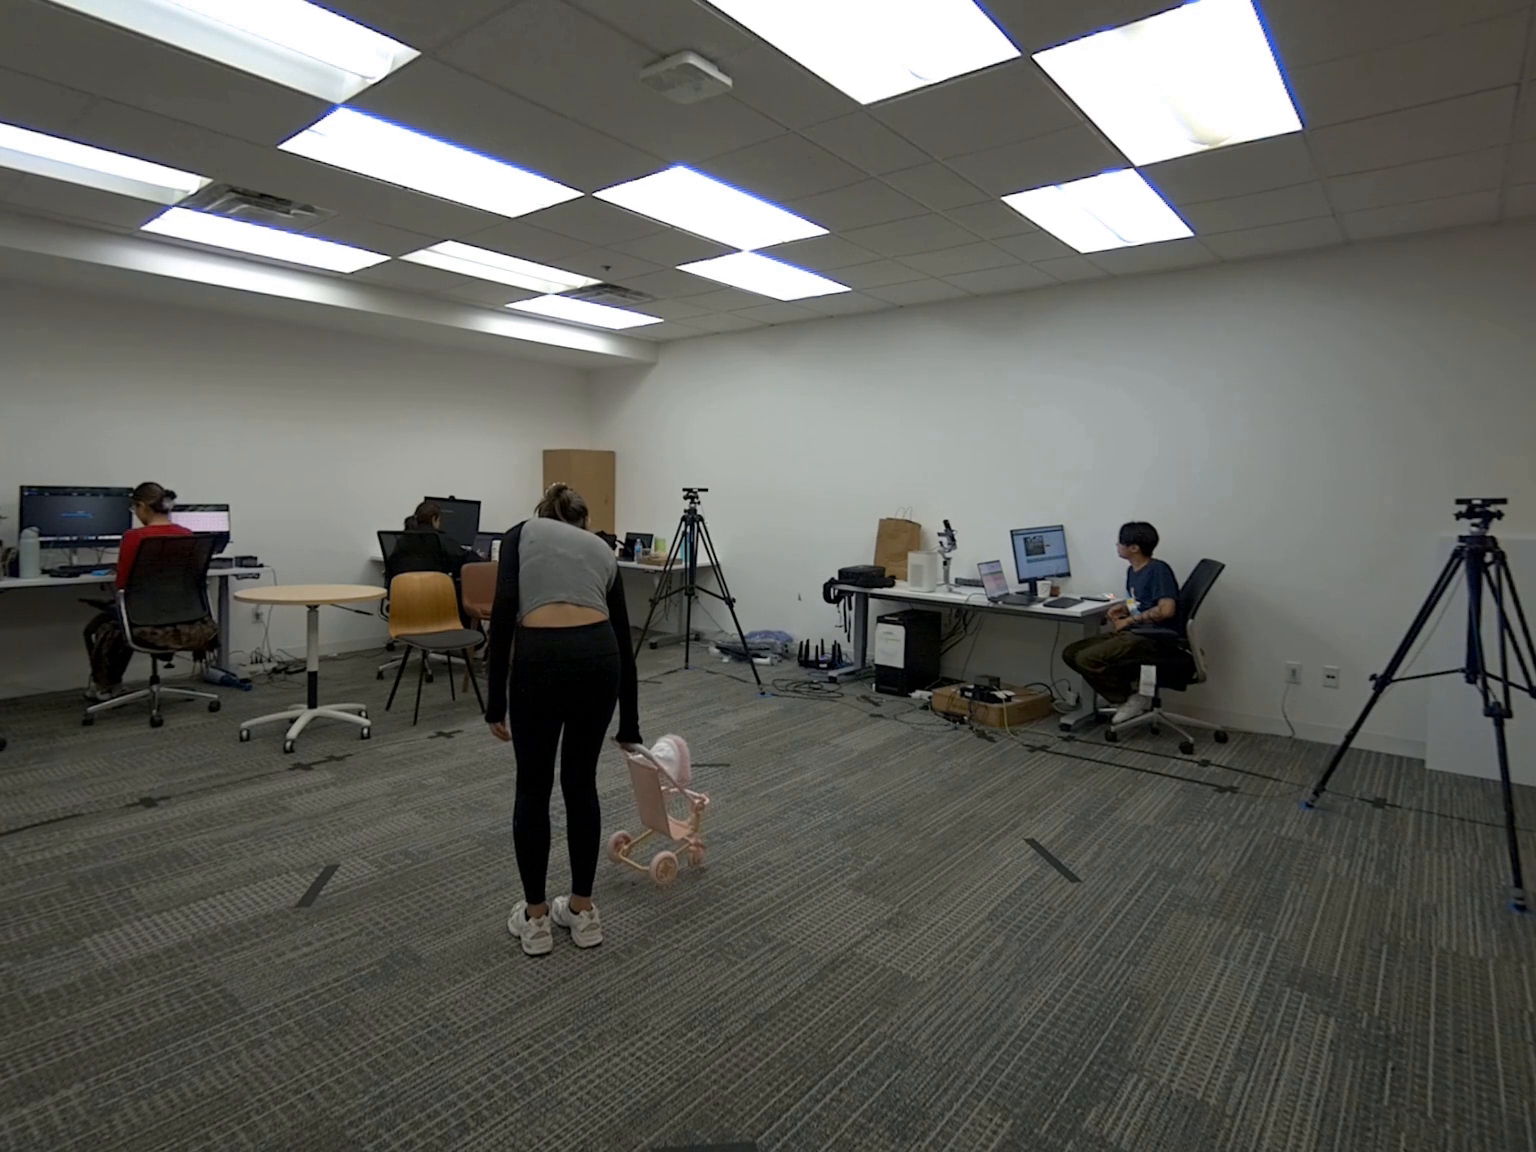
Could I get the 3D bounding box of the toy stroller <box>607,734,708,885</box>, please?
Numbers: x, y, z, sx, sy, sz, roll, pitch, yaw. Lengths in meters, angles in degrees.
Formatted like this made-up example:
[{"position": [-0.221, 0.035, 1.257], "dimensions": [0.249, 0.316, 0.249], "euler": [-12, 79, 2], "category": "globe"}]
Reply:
[{"position": [-0.369, 0.793, 2.978], "dimensions": [0.332, 0.533, 0.290], "euler": [-5, 4, -39], "category": "toy stroller"}]
